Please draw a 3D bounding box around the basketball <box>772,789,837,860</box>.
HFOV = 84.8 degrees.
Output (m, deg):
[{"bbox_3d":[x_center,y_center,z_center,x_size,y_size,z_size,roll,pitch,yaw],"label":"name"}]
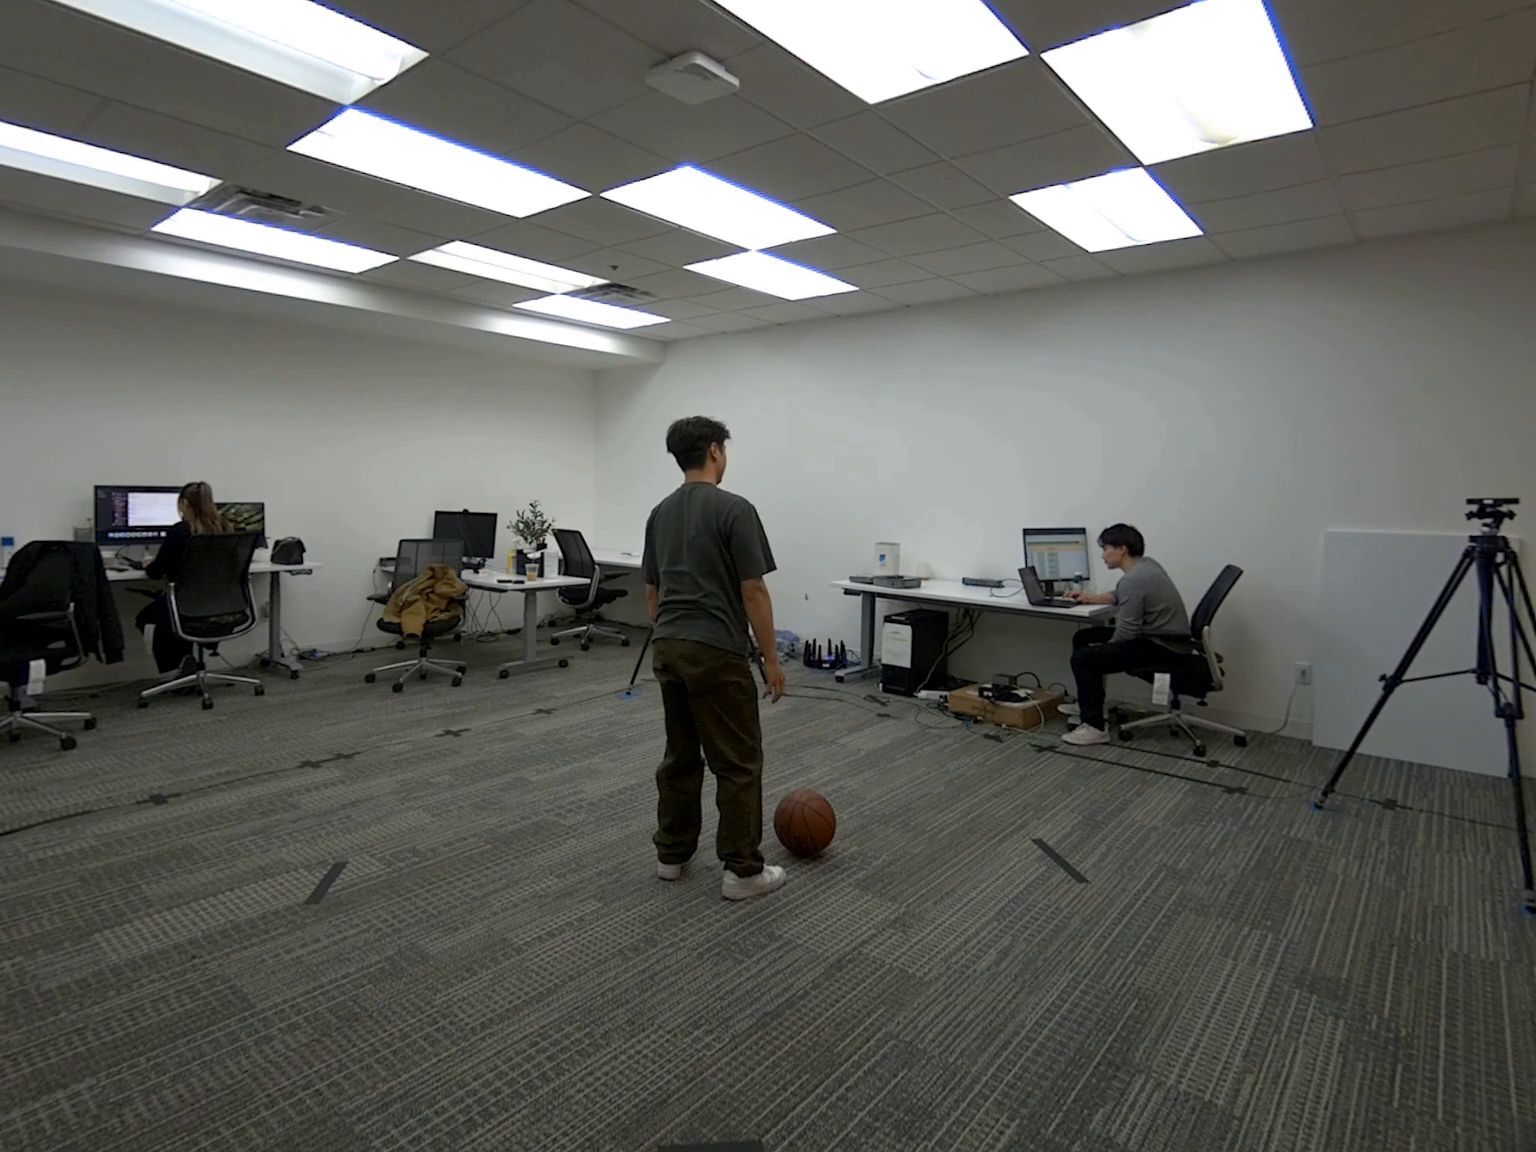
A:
[{"bbox_3d":[0.128,0.931,3.256,0.235,0.235,0.237,1,4,-2],"label":"basketball"}]
